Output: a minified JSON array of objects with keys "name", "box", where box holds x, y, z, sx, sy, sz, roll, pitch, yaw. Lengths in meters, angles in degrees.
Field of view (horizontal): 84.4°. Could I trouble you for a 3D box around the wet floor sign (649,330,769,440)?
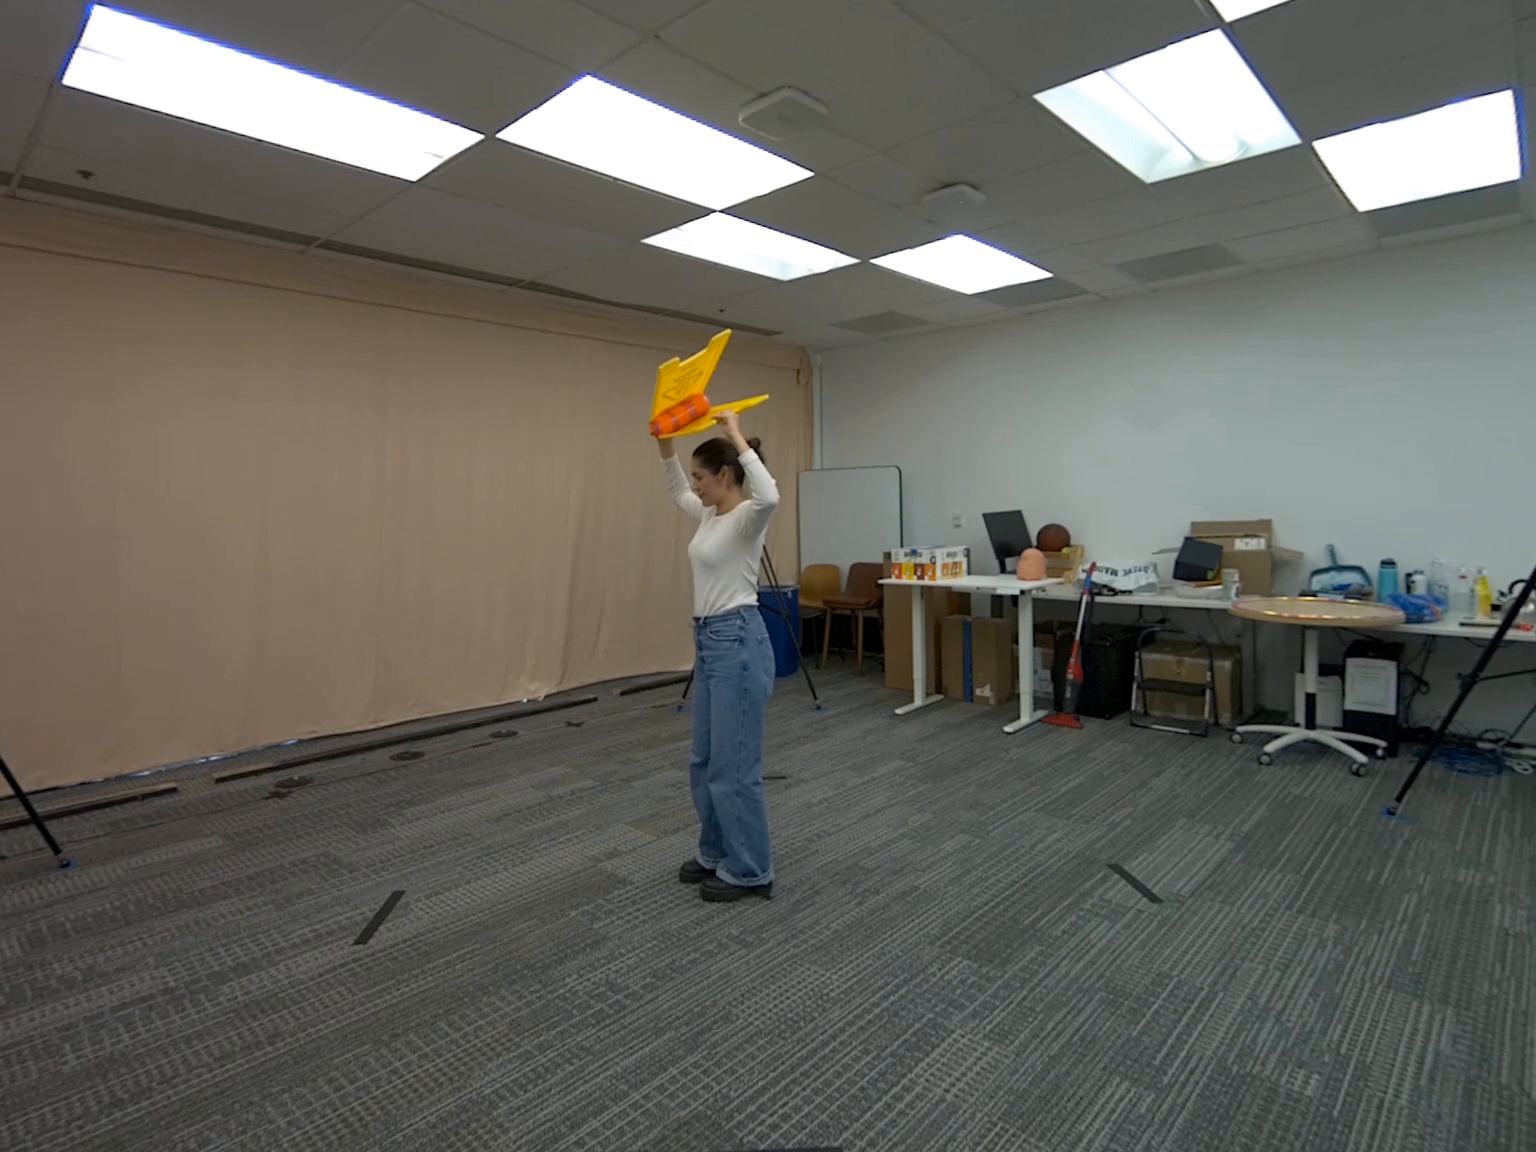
[{"name":"wet floor sign","box":[-0.273,-0.609,3.010,0.279,0.288,0.657,-32,8,-18]}]
